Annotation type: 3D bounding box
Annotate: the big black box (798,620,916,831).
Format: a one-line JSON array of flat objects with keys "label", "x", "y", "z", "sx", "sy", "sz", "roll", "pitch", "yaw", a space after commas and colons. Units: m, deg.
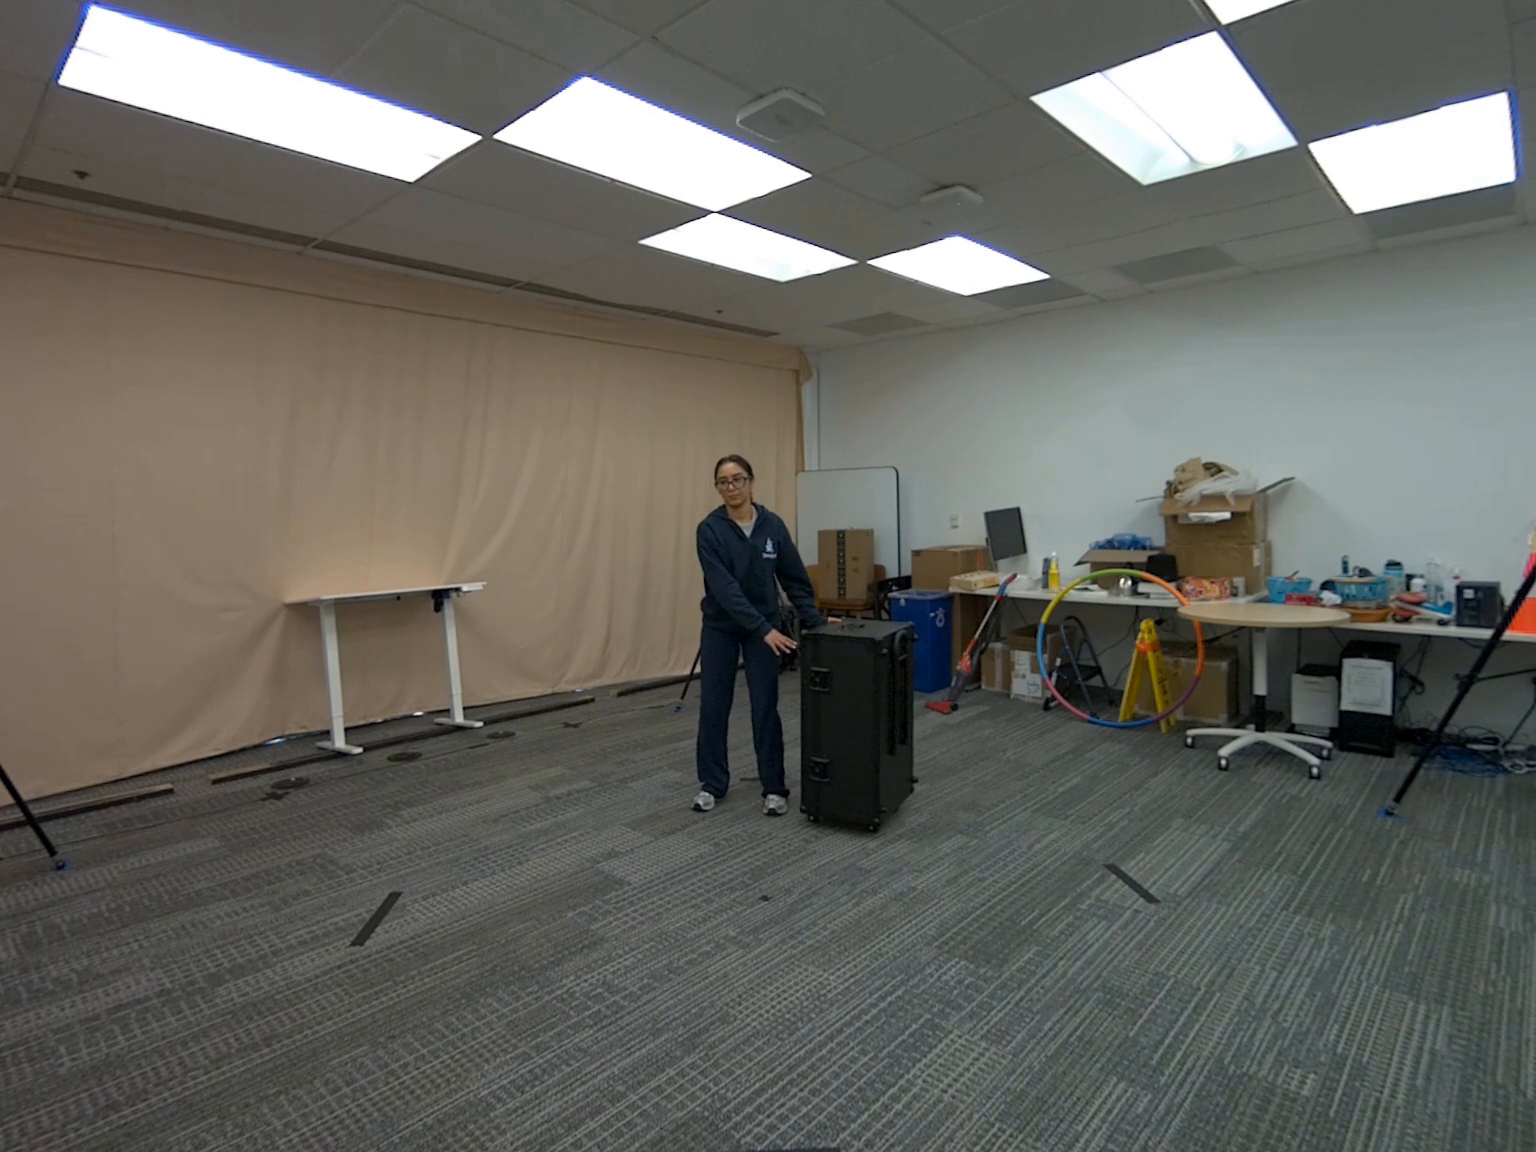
[{"label": "big black box", "x": 0.422, "y": 0.652, "z": 3.711, "sx": 0.407, "sy": 0.859, "sz": 0.508, "roll": 2, "pitch": 4, "yaw": 29}]
